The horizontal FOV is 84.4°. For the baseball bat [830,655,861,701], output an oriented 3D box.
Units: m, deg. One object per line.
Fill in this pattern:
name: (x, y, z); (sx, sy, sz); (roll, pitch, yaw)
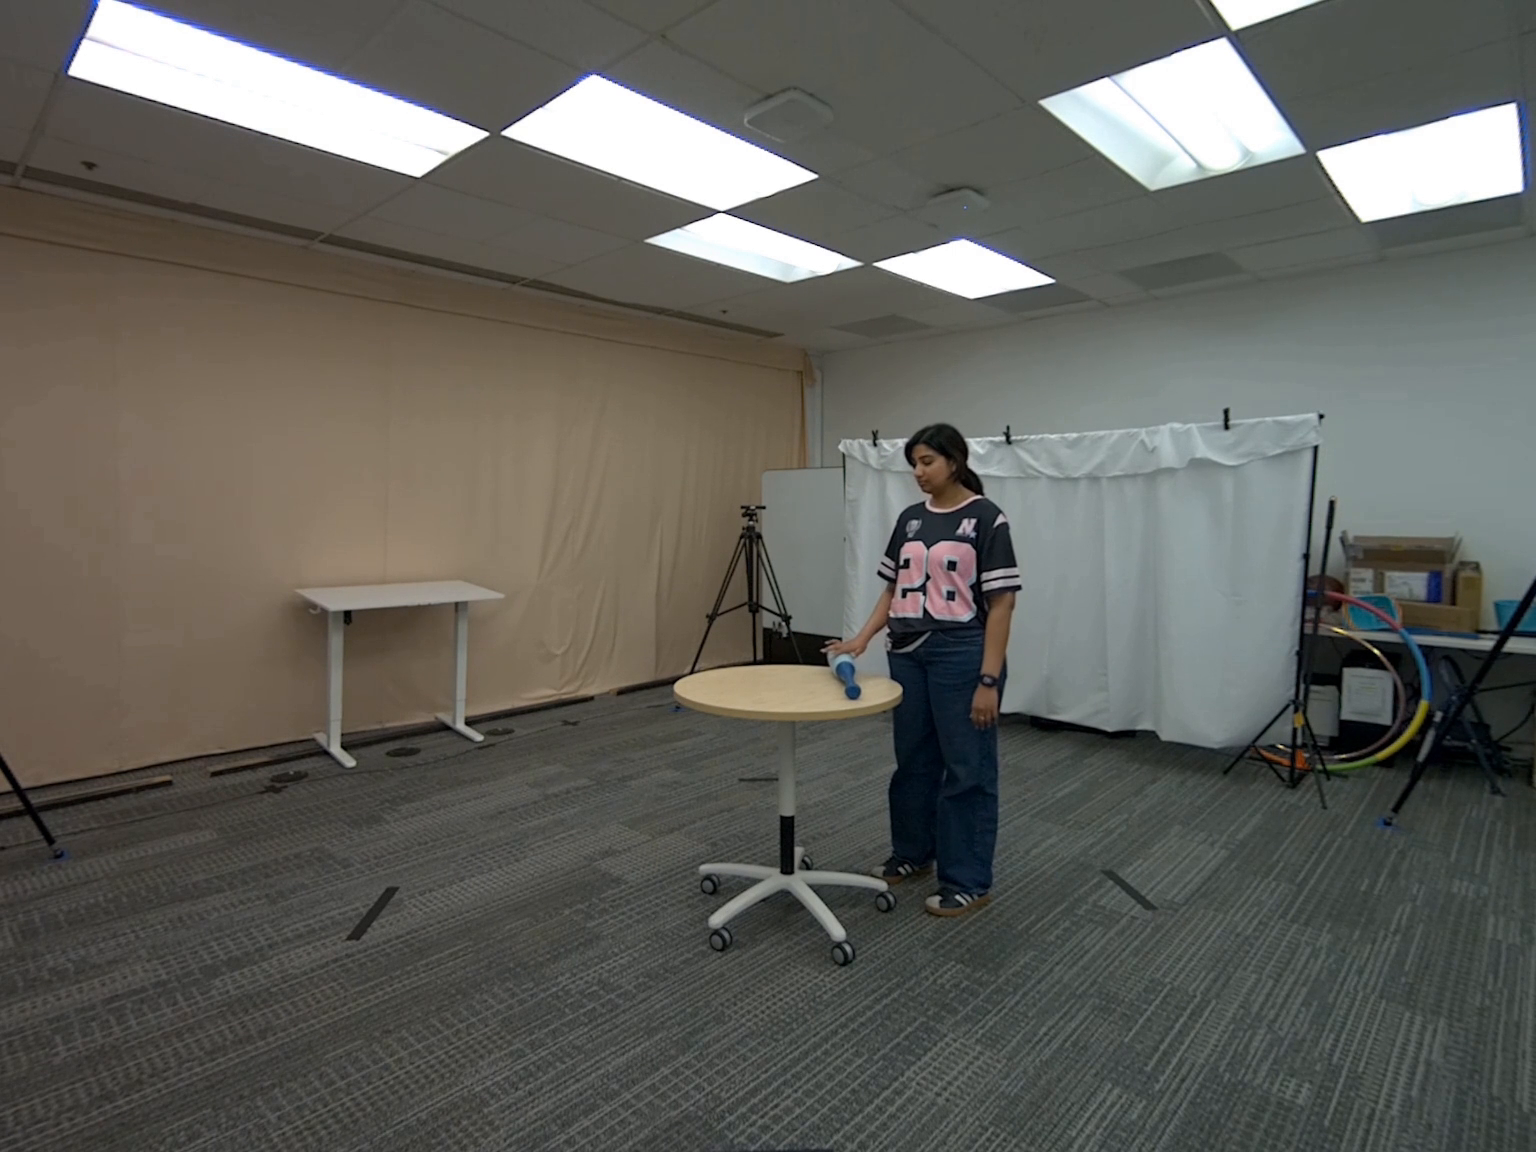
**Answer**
baseball bat: (0.274, 0.335, 2.885); (0.089, 0.089, 0.545); (0, 7, -3)
